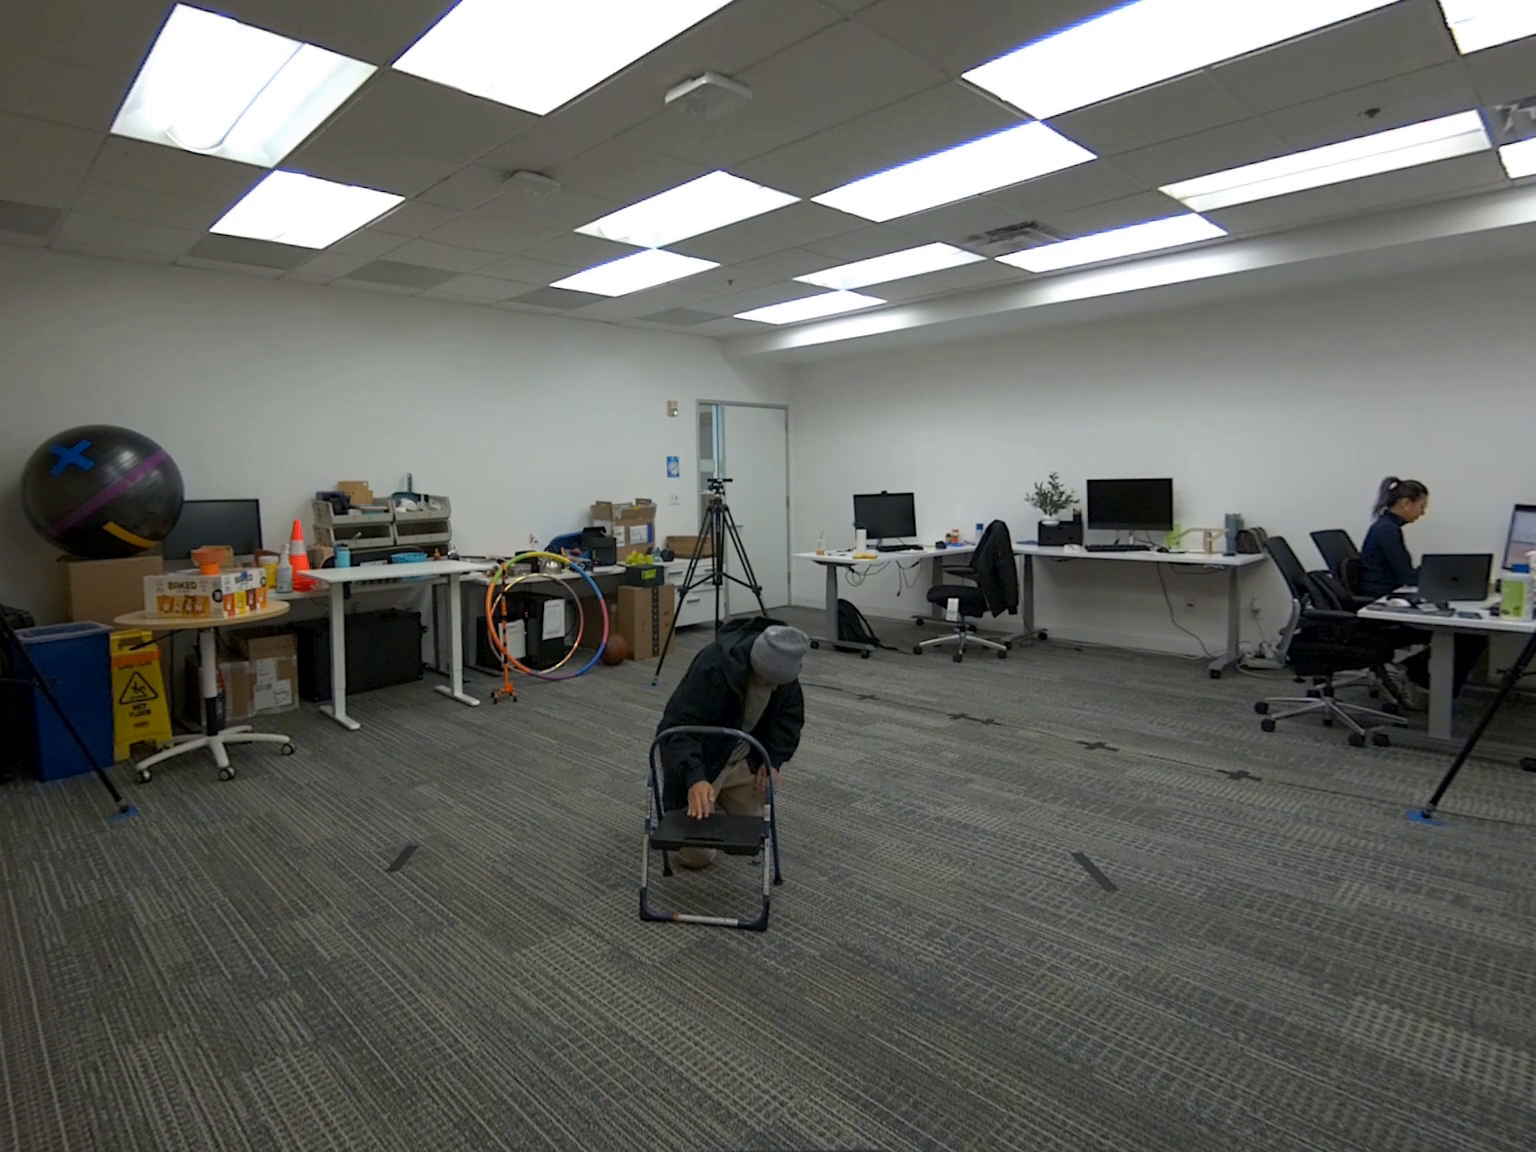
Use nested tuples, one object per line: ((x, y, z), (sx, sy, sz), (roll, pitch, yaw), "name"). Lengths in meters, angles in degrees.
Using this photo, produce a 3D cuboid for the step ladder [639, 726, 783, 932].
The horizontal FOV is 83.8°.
((-0.184, 0.779, 2.822), (0.435, 0.605, 0.347), (0, 2, 9), "step ladder")
